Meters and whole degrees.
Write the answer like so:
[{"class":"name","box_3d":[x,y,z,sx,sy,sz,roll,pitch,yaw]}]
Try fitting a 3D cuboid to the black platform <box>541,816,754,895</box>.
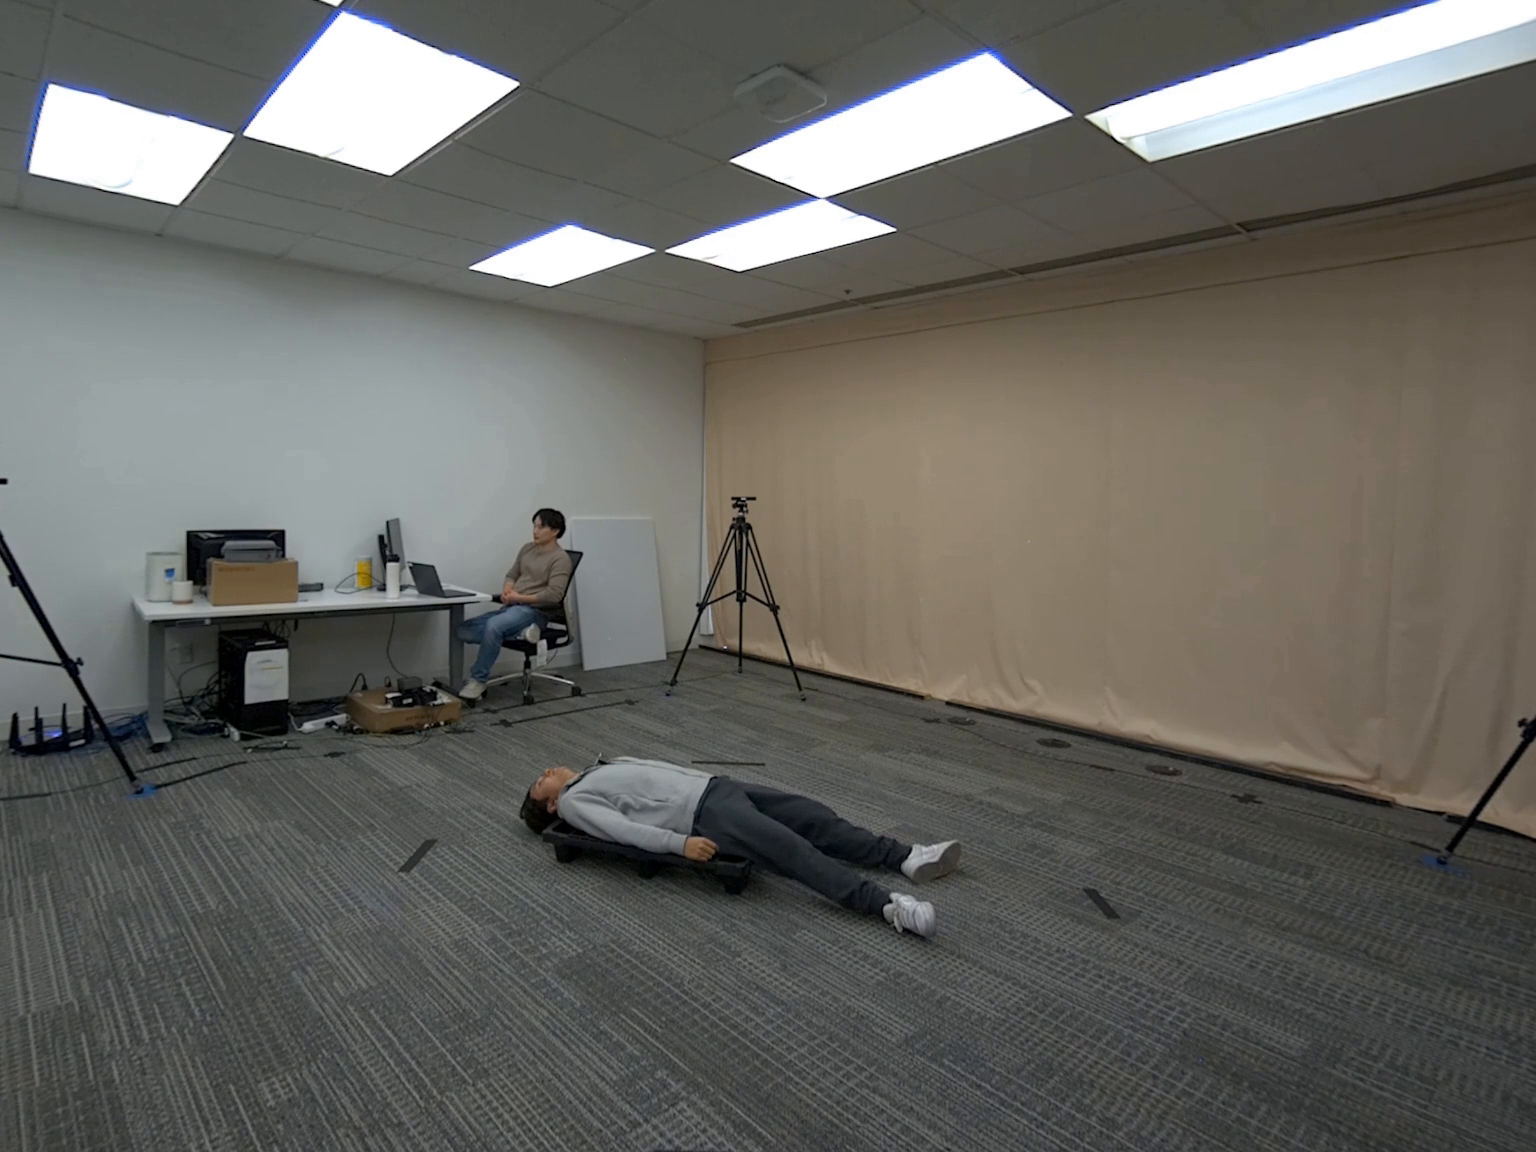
[{"class":"black platform","box_3d":[-0.389,1.004,3.284,0.819,0.142,0.598,2,8,21]}]
